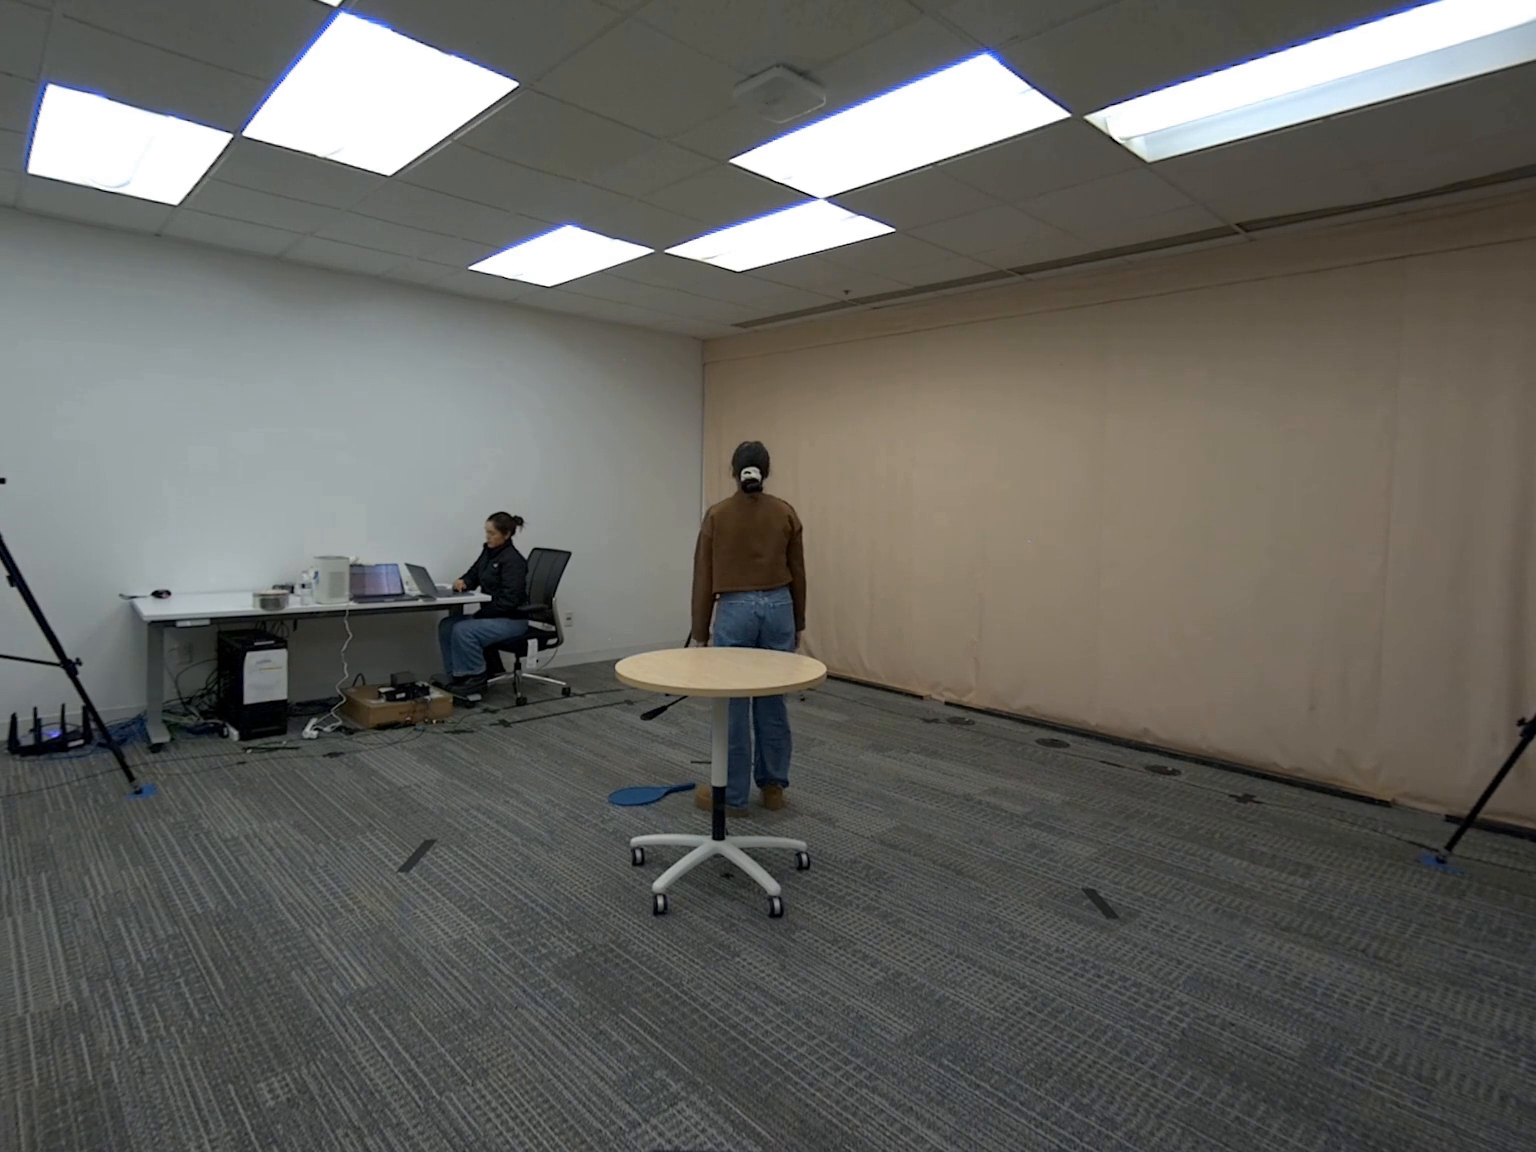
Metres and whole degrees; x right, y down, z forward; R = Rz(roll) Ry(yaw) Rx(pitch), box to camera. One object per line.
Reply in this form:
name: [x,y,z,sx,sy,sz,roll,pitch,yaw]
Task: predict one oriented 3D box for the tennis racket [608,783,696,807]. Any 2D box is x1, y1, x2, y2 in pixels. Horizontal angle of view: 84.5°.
tennis racket: [-0.544,1.003,3.928,0.425,0.031,0.218,-3,6,-28]
